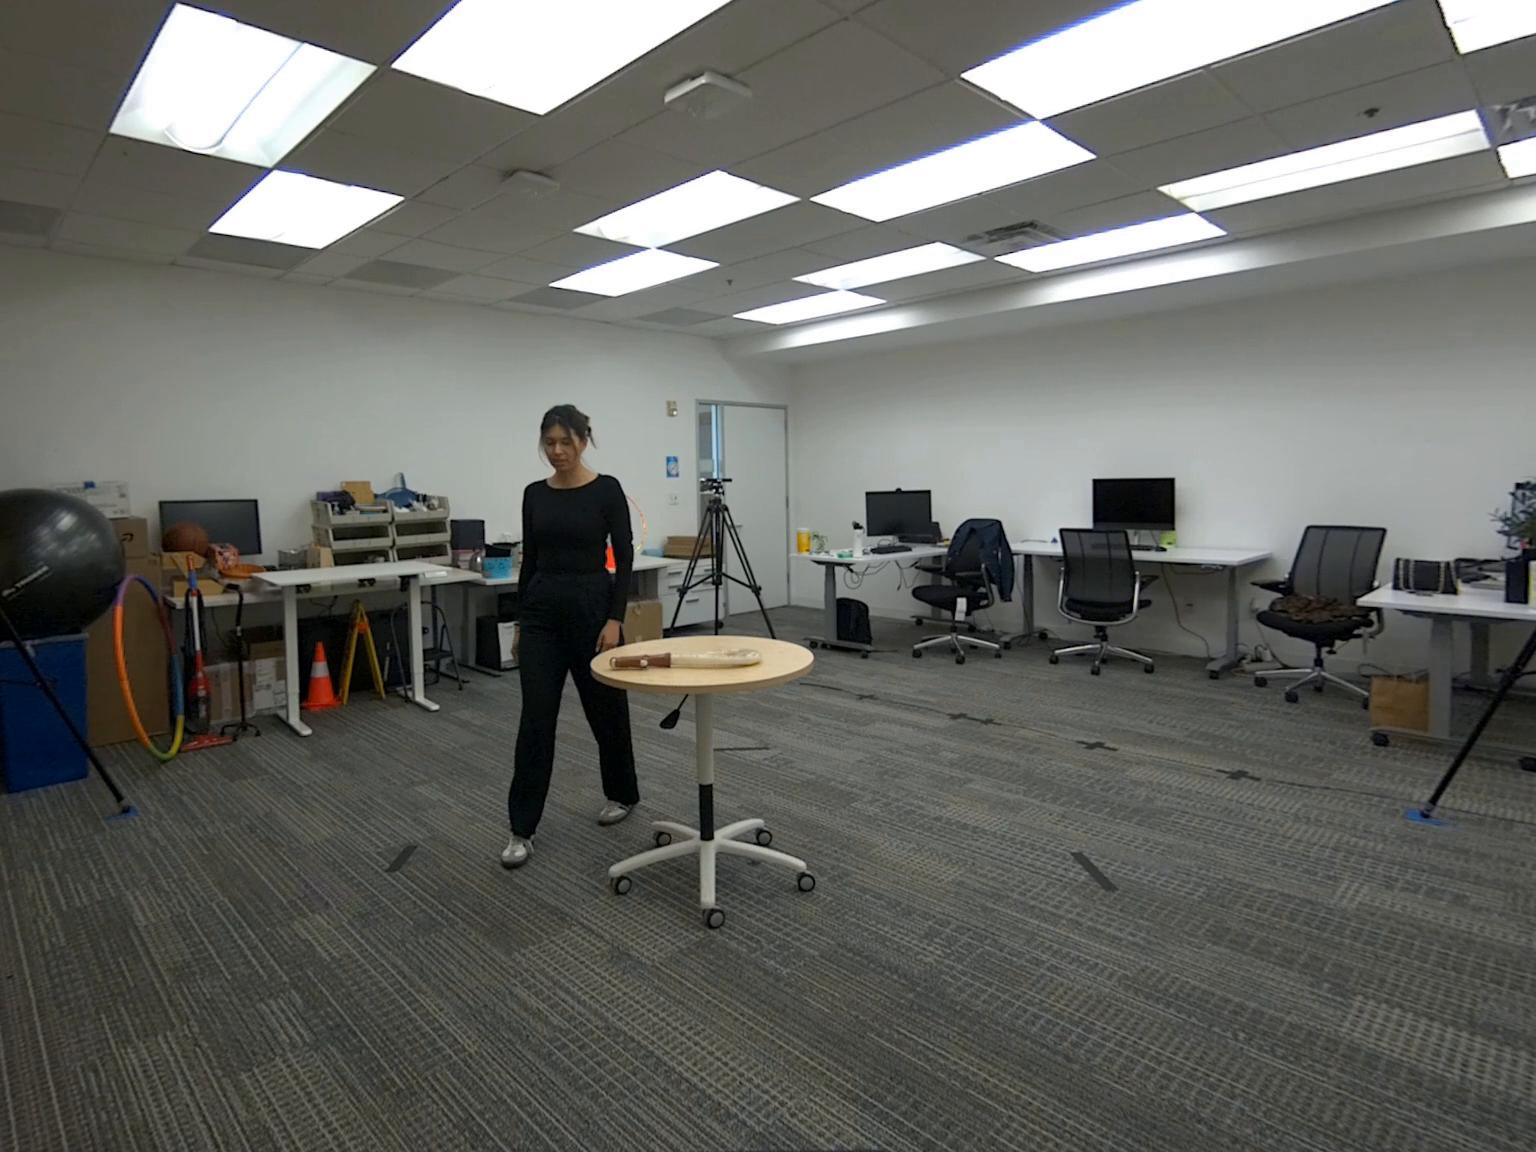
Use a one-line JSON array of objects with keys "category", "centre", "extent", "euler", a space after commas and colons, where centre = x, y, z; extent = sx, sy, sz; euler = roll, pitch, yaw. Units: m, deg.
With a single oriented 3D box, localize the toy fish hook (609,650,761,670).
[{"category": "toy fish hook", "centre": [-0.277, 0.284, 2.873], "extent": [0.505, 0.048, 0.225], "euler": [-1, -2, -4]}]
